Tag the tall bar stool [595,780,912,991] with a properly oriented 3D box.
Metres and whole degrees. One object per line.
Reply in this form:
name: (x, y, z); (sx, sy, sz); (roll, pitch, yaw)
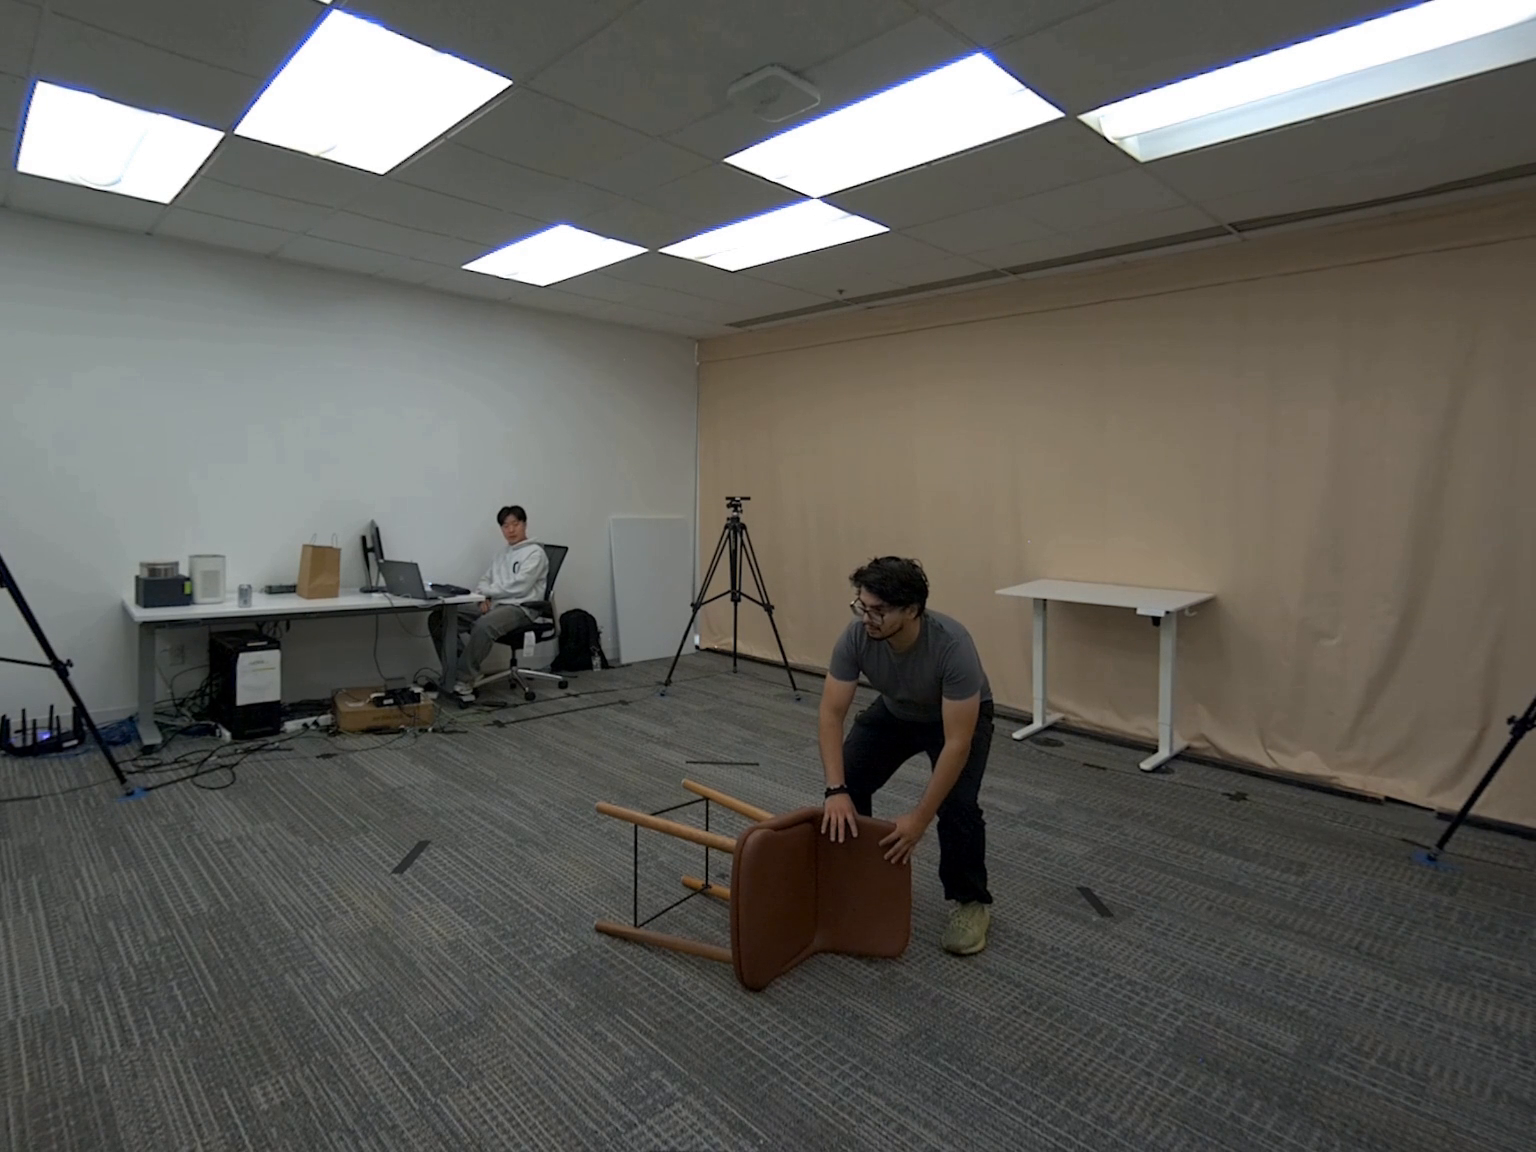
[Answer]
tall bar stool: (-0.071, 0.939, 2.605); (0.910, 0.456, 0.457); (2, 2, 35)
